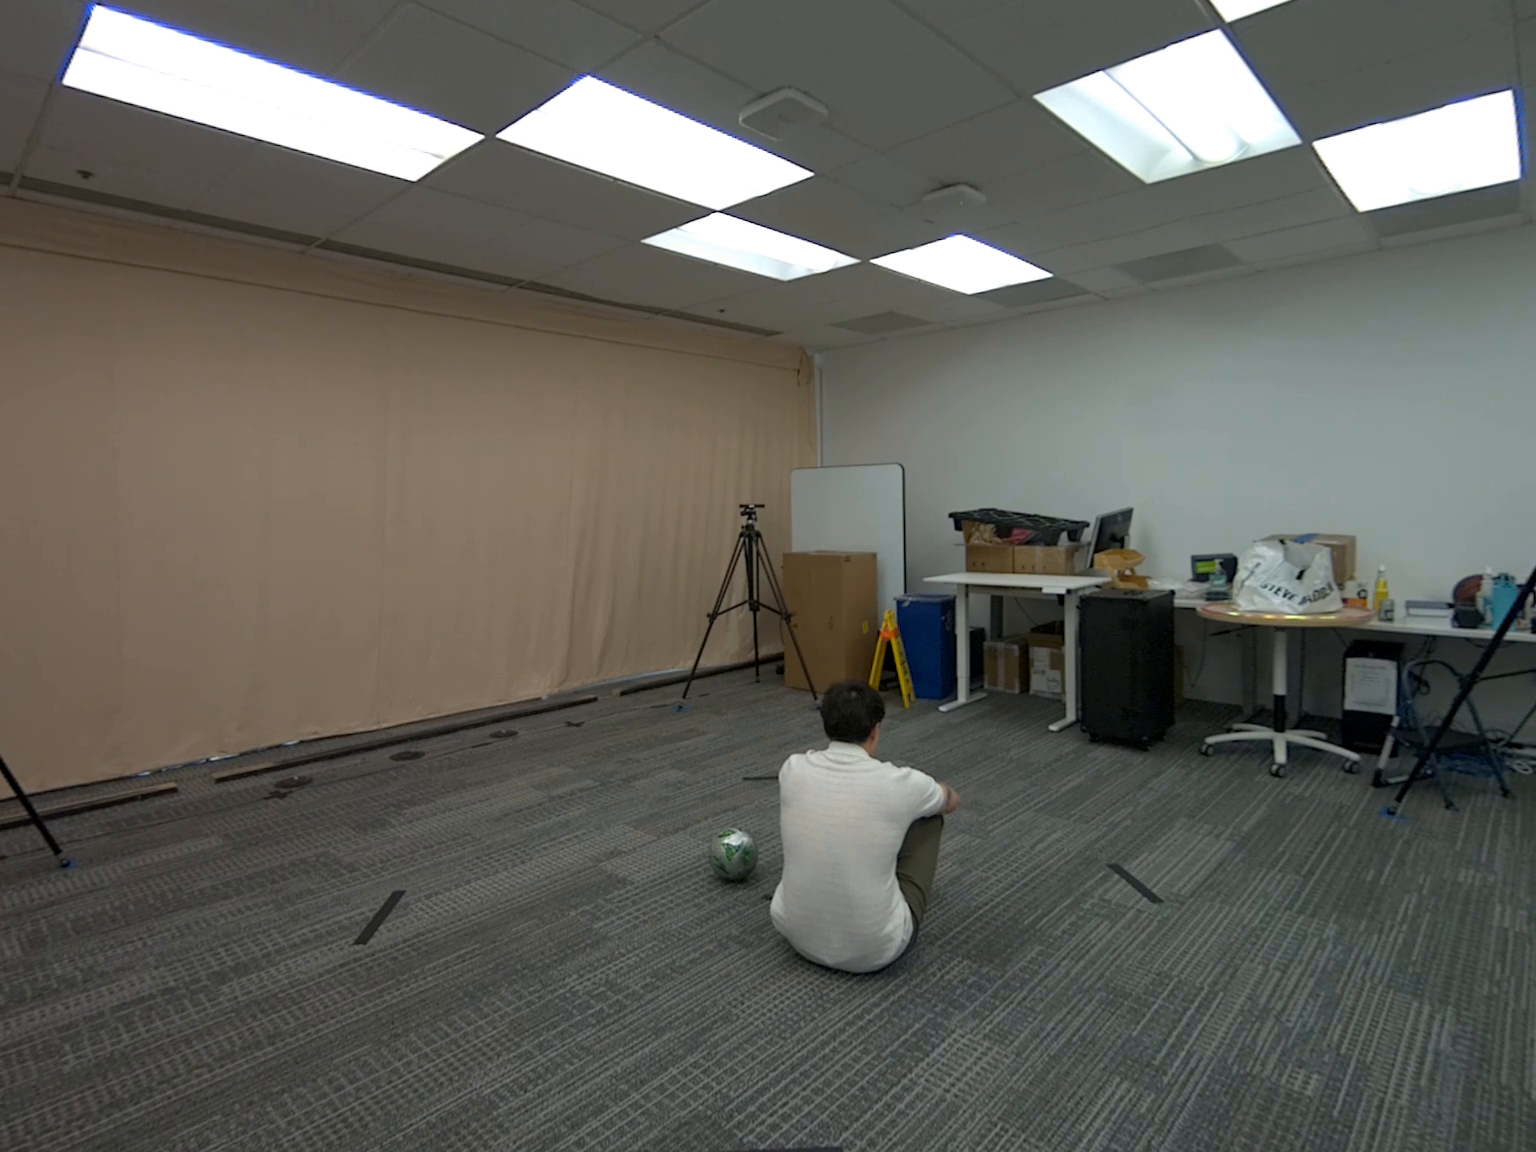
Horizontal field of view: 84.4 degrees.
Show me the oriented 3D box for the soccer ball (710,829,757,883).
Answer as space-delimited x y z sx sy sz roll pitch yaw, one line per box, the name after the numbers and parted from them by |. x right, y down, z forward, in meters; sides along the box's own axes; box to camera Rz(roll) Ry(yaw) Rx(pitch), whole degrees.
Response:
-0.127 1.034 3.135 0.187 0.187 0.188 -1 4 -2 | soccer ball
